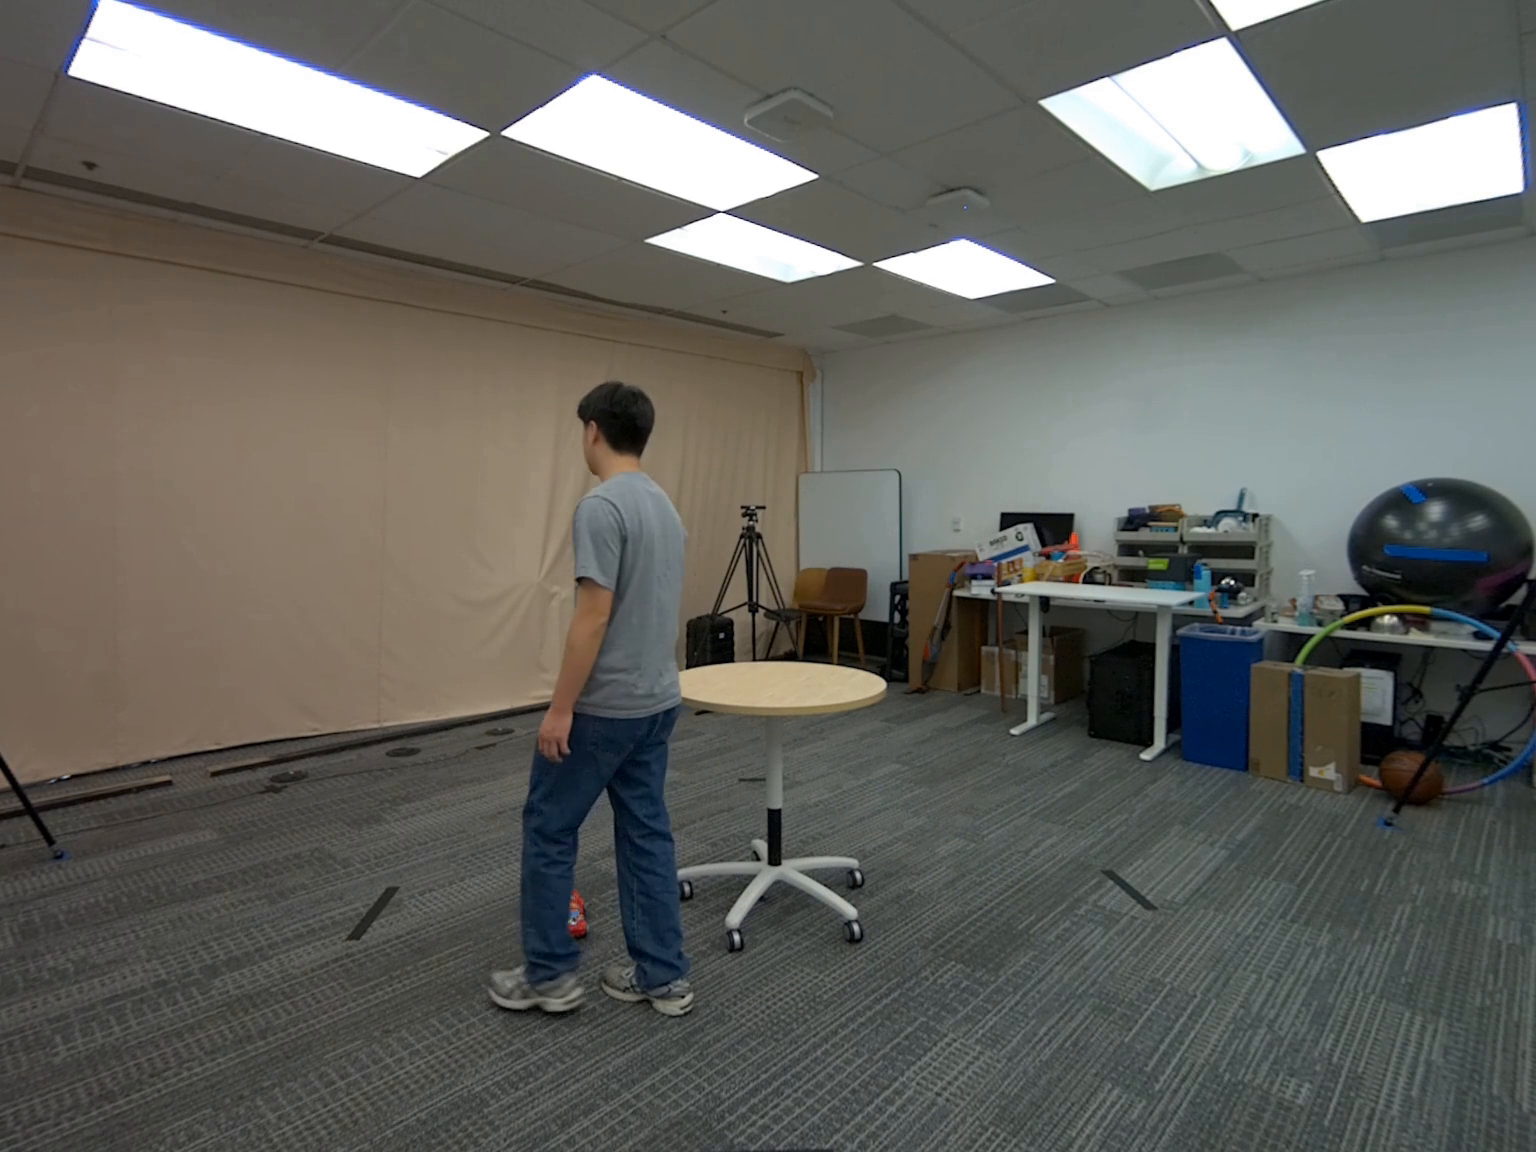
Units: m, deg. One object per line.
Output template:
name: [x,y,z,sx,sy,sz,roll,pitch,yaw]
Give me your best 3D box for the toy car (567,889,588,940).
toy car: [-0.670,1.134,2.803,0.128,0.082,0.260,-2,16,-15]
